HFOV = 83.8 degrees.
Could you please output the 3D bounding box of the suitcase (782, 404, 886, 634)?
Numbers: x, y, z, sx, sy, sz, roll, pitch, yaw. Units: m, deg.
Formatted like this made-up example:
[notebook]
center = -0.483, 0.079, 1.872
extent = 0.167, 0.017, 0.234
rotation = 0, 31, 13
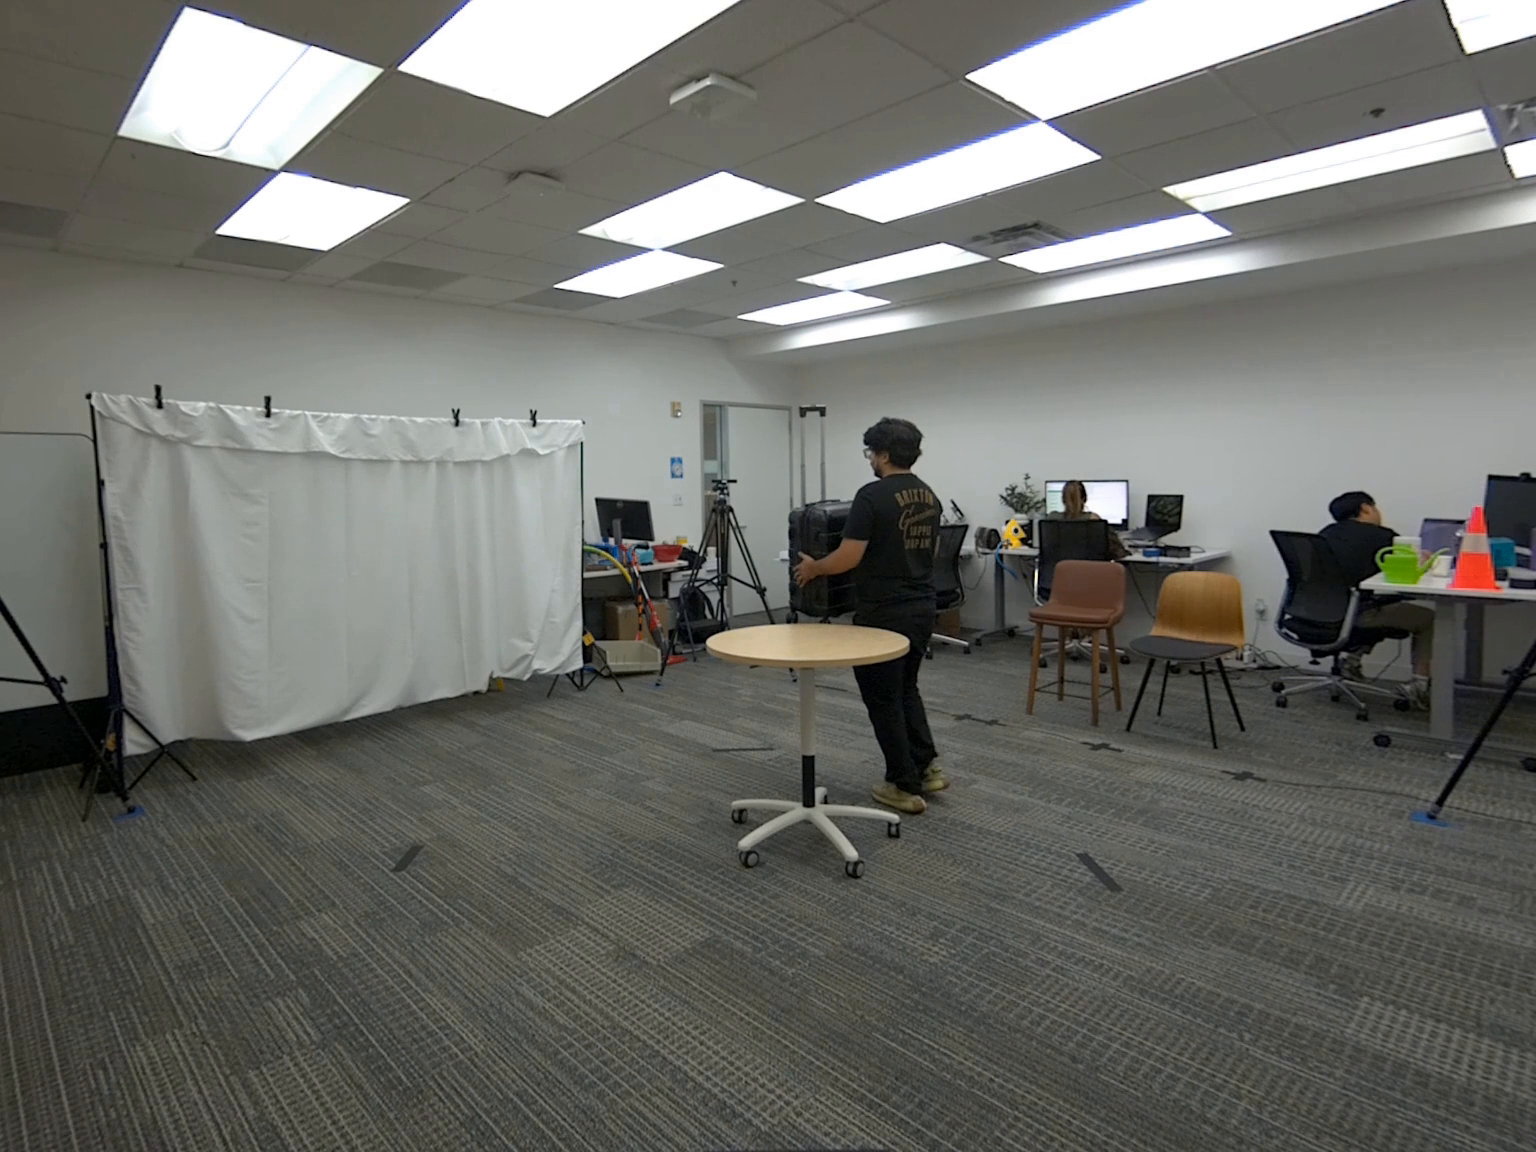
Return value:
[suitcase]
center = 0.297, -0.278, 3.867
extent = 0.375, 0.970, 0.265
rotation = -8, 12, -39
